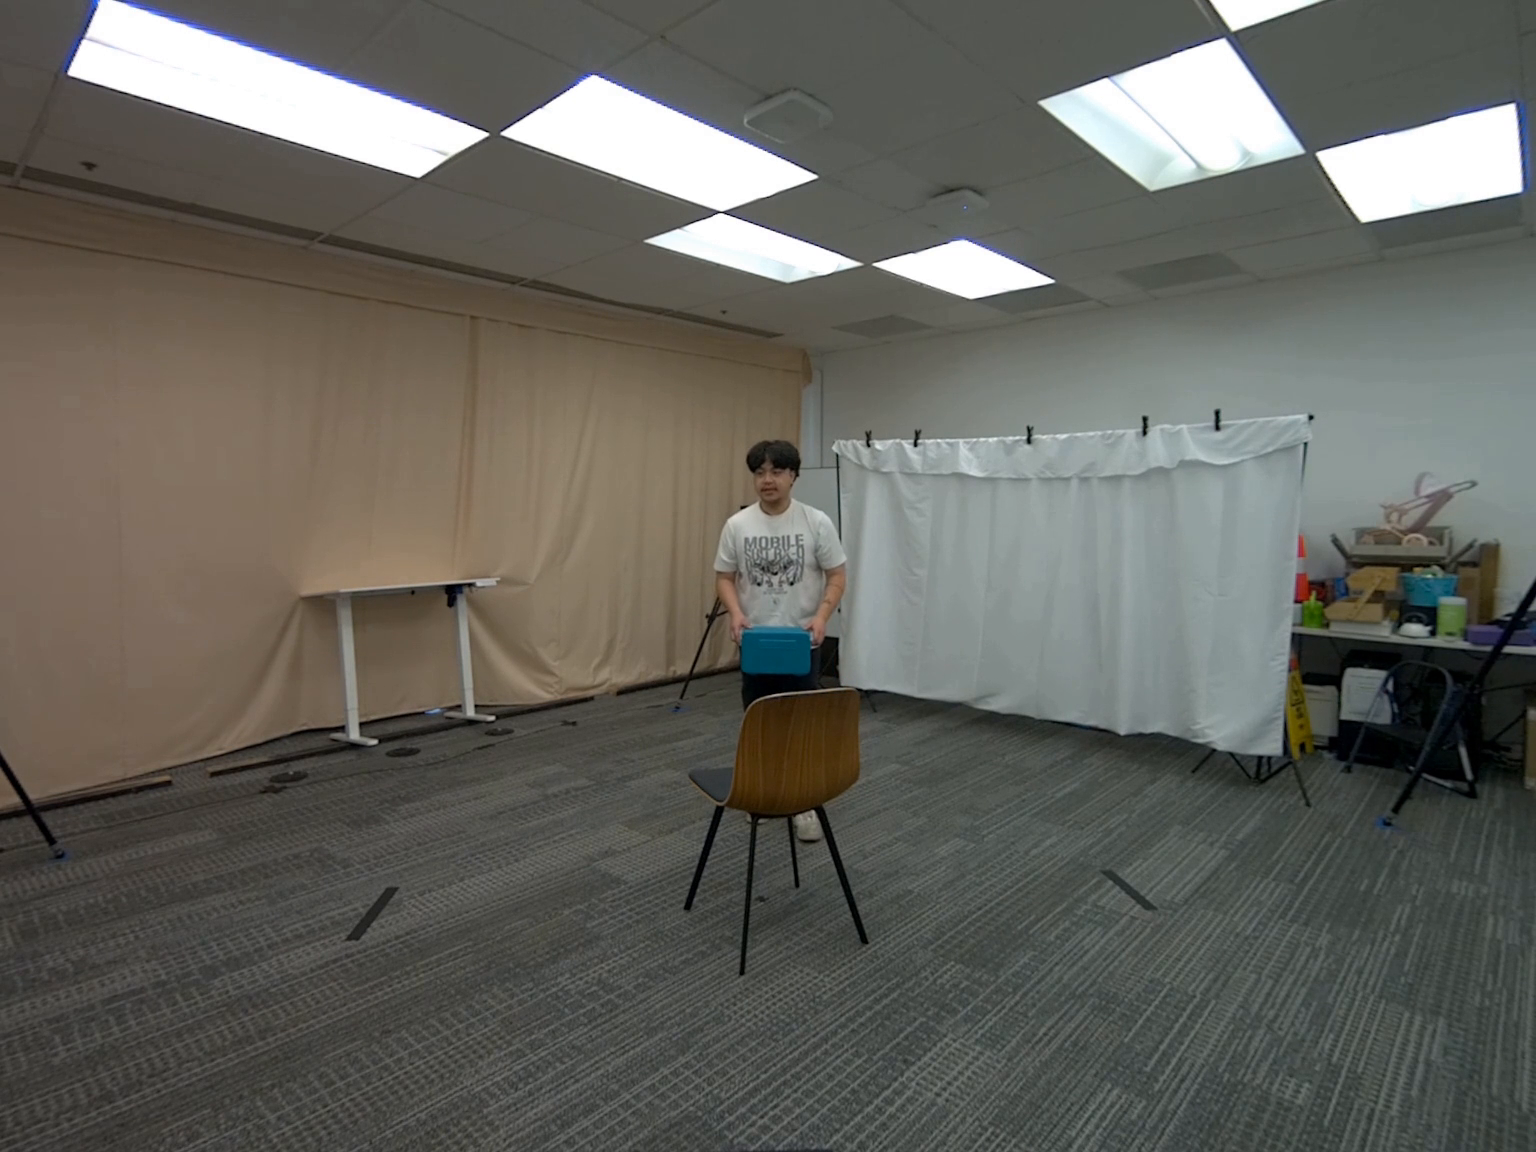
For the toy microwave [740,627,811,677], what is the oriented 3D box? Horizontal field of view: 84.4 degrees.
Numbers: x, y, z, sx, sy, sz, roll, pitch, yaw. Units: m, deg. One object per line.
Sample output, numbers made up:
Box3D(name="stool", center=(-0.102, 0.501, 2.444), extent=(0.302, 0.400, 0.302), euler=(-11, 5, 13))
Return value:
Box3D(name="toy microwave", center=(0.034, 0.306, 3.479), extent=(0.288, 0.183, 0.152), euler=(1, 8, 7))
